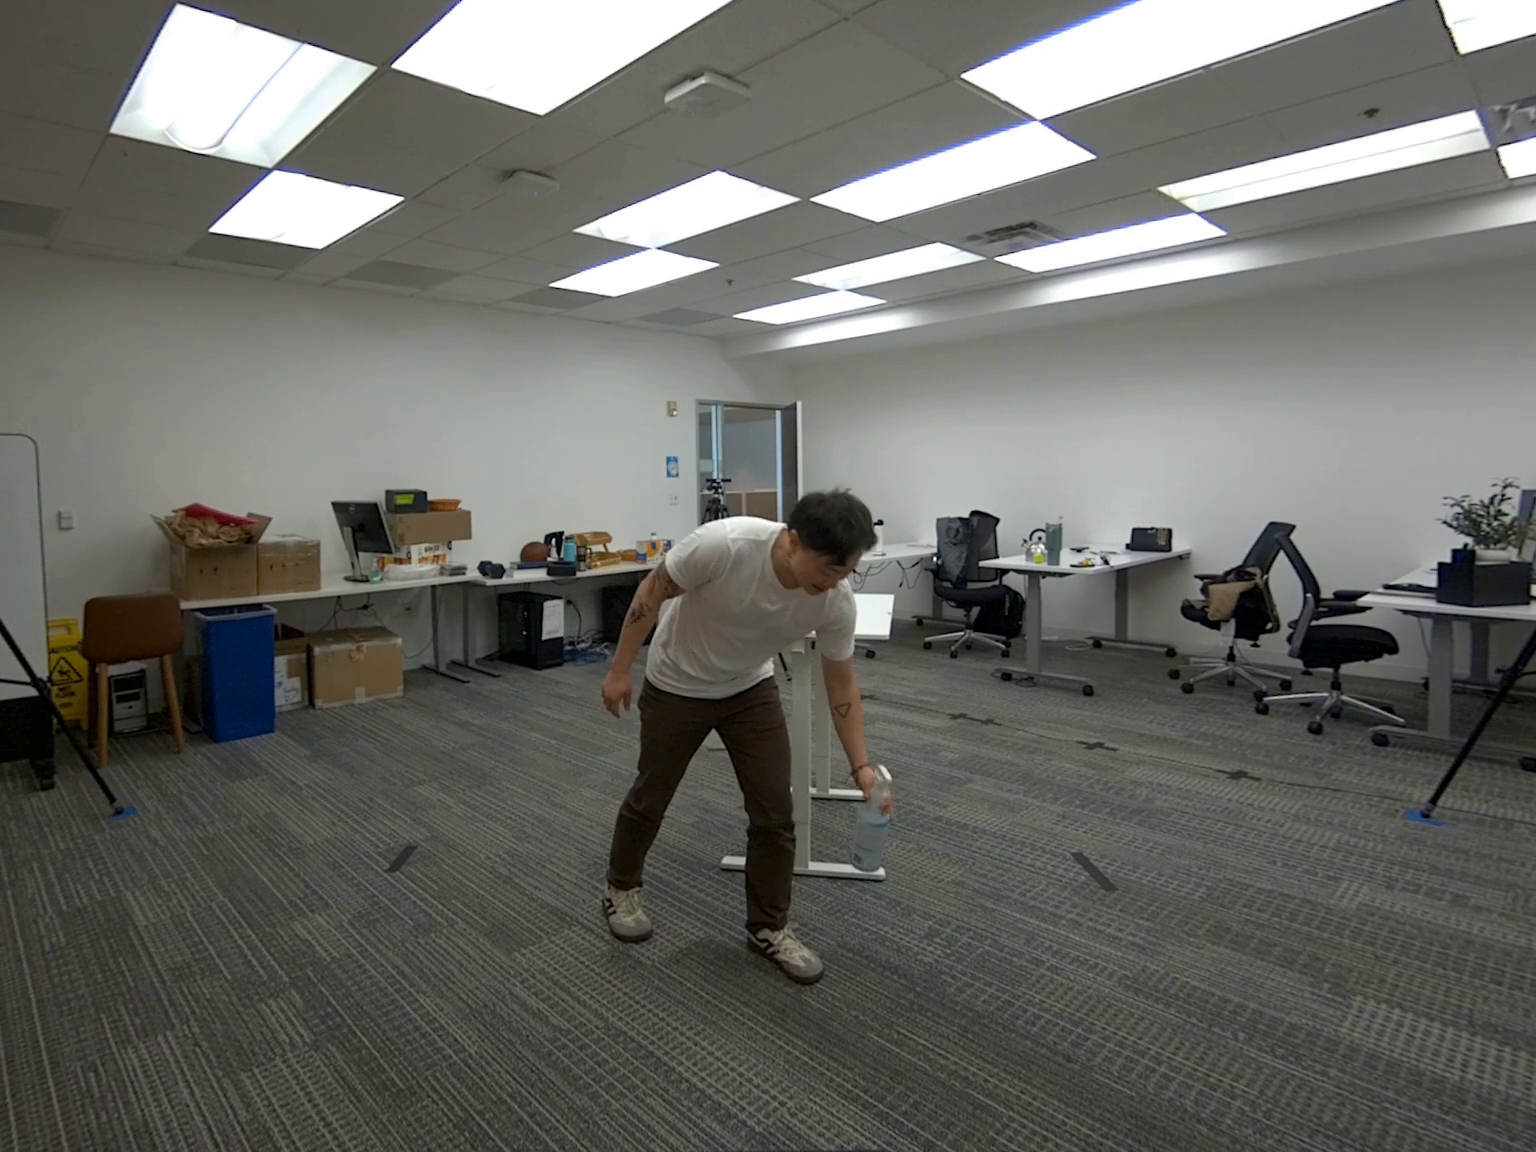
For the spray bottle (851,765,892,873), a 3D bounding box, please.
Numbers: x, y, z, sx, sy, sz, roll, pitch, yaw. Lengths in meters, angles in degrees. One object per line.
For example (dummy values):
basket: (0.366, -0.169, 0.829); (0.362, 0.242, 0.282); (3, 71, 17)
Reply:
spray bottle: (0.271, 0.643, 2.279); (0.088, 0.294, 0.089); (13, 16, 13)
